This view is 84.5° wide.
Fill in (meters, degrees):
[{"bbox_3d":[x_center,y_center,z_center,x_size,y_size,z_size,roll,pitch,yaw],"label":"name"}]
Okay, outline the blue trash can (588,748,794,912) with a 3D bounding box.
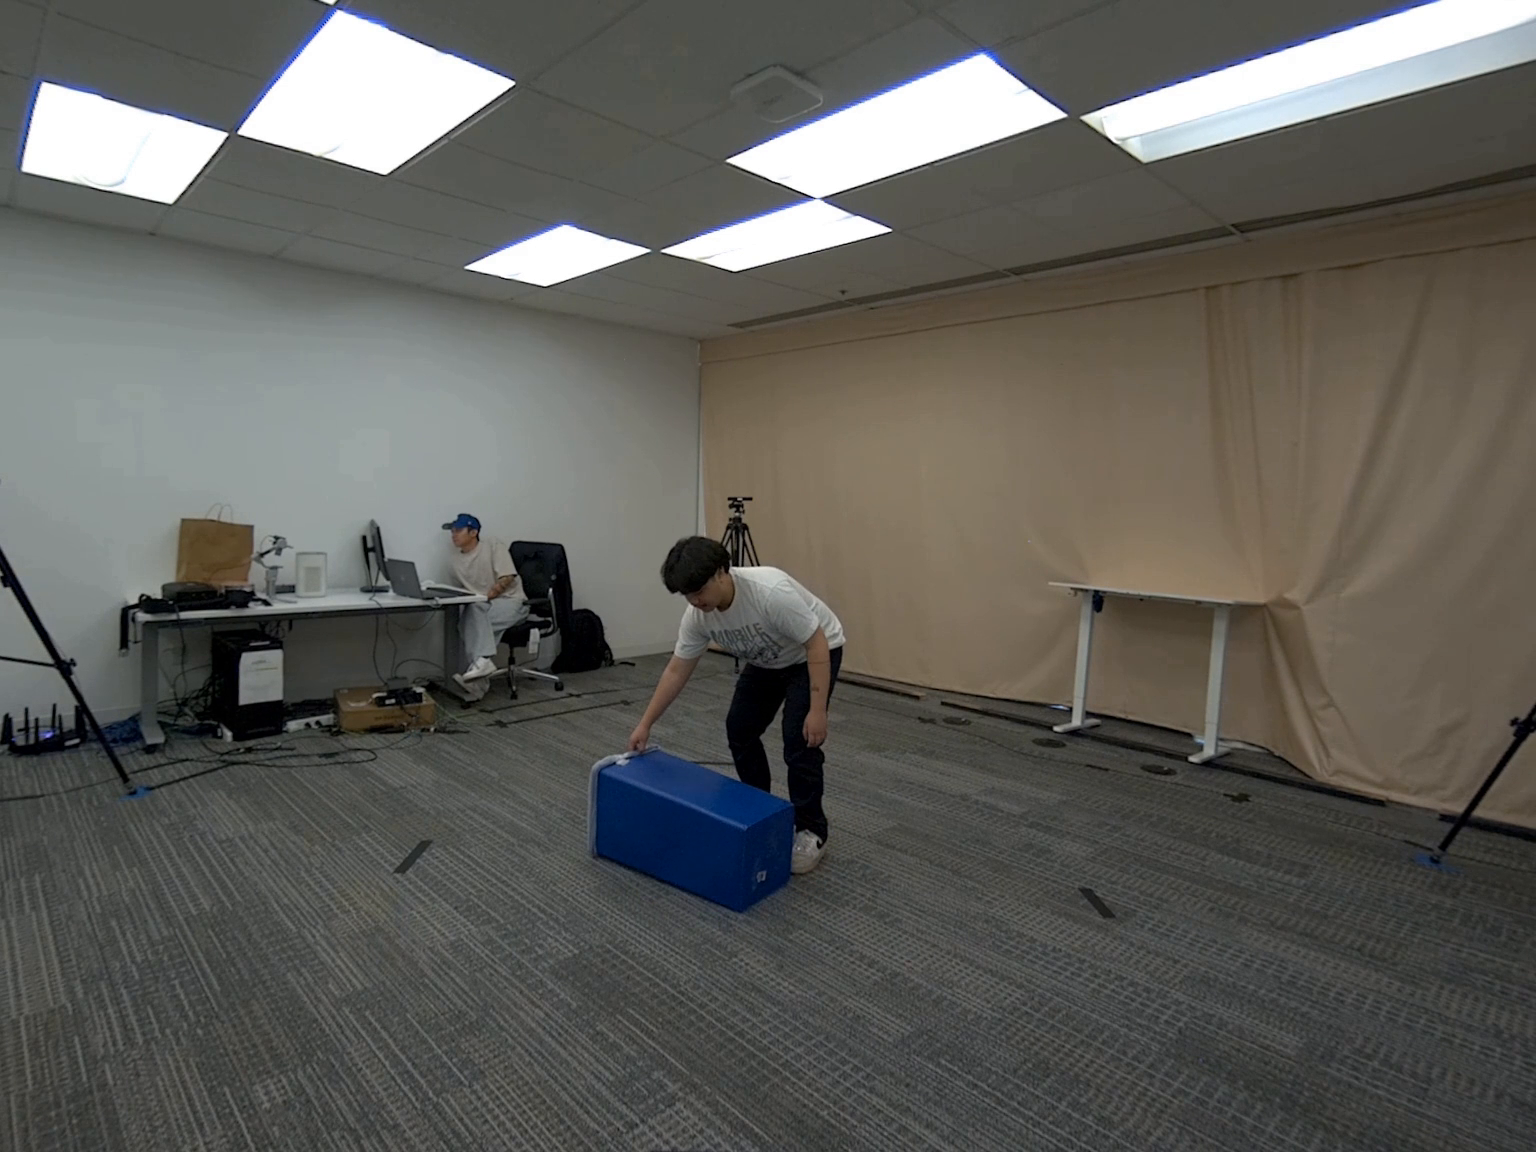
[{"bbox_3d":[-0.298,0.934,3.131,0.732,0.372,0.370,10,8,36],"label":"blue trash can"}]
